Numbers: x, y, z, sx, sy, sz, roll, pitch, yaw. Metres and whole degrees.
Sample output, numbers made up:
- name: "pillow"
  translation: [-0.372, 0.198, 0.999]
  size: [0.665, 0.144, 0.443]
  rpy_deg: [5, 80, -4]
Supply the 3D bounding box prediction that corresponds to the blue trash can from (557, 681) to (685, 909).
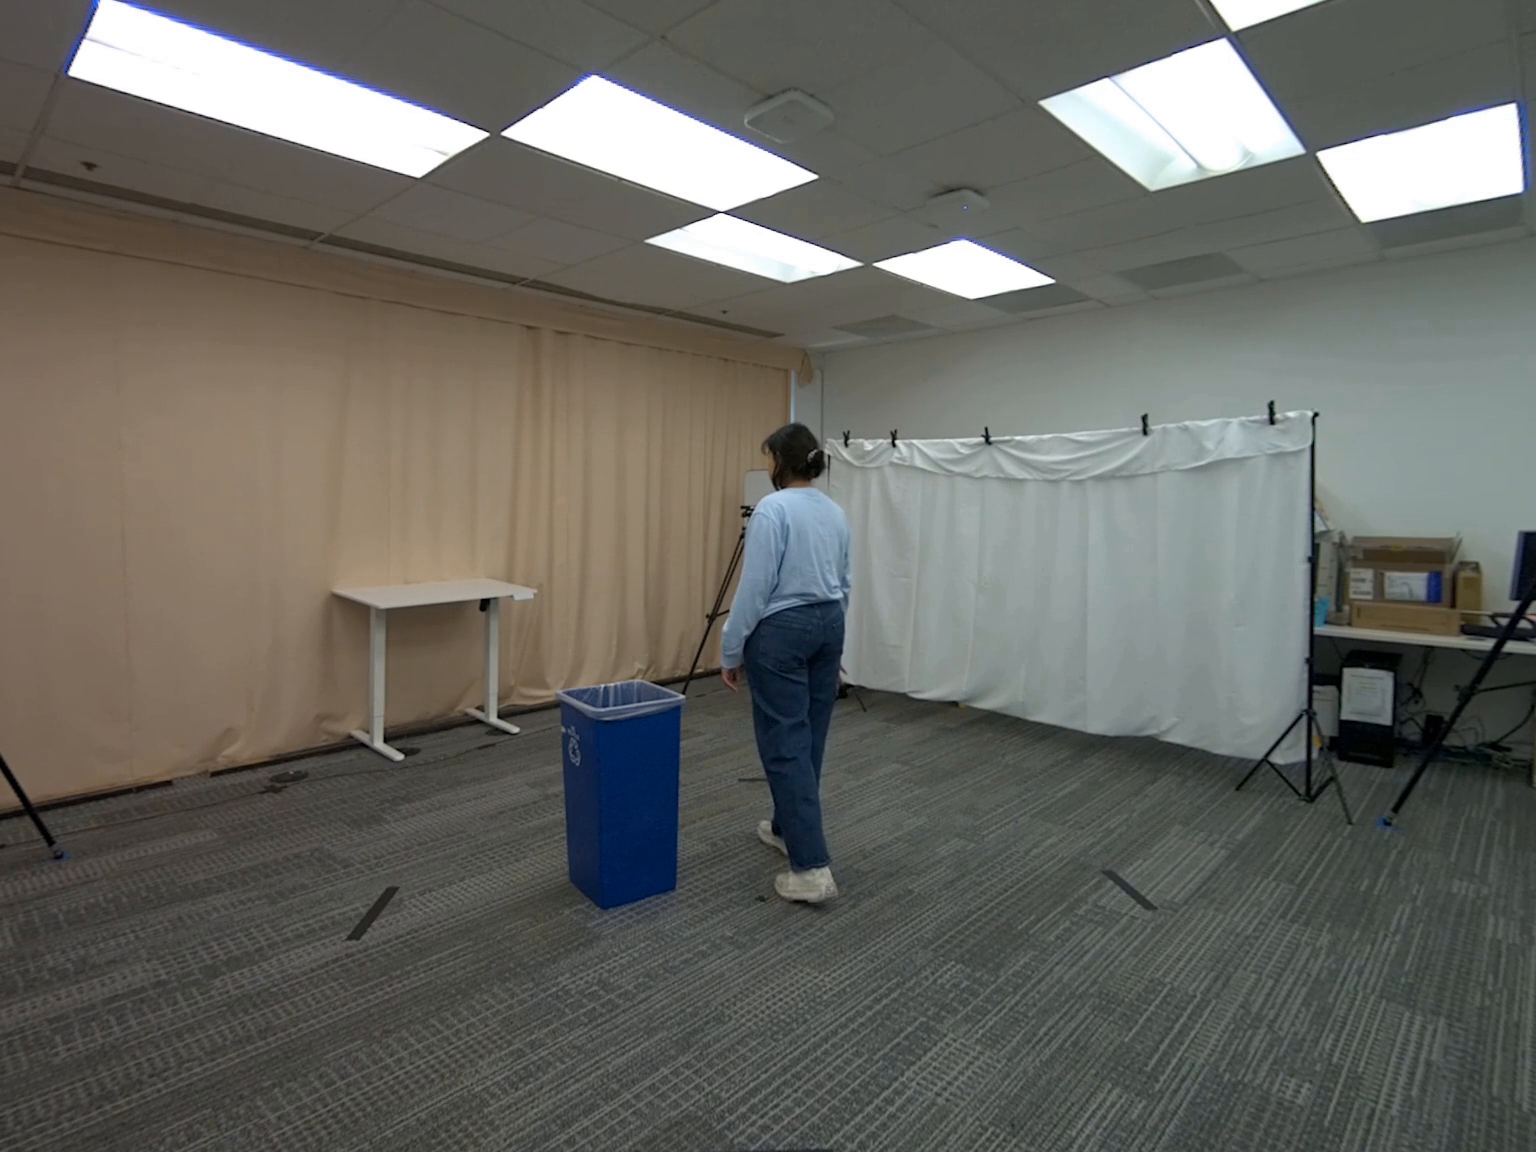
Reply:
- name: "blue trash can"
  translation: [-0.534, 0.785, 3.086]
  size: [0.367, 0.712, 0.386]
  rpy_deg: [-3, 4, -36]
